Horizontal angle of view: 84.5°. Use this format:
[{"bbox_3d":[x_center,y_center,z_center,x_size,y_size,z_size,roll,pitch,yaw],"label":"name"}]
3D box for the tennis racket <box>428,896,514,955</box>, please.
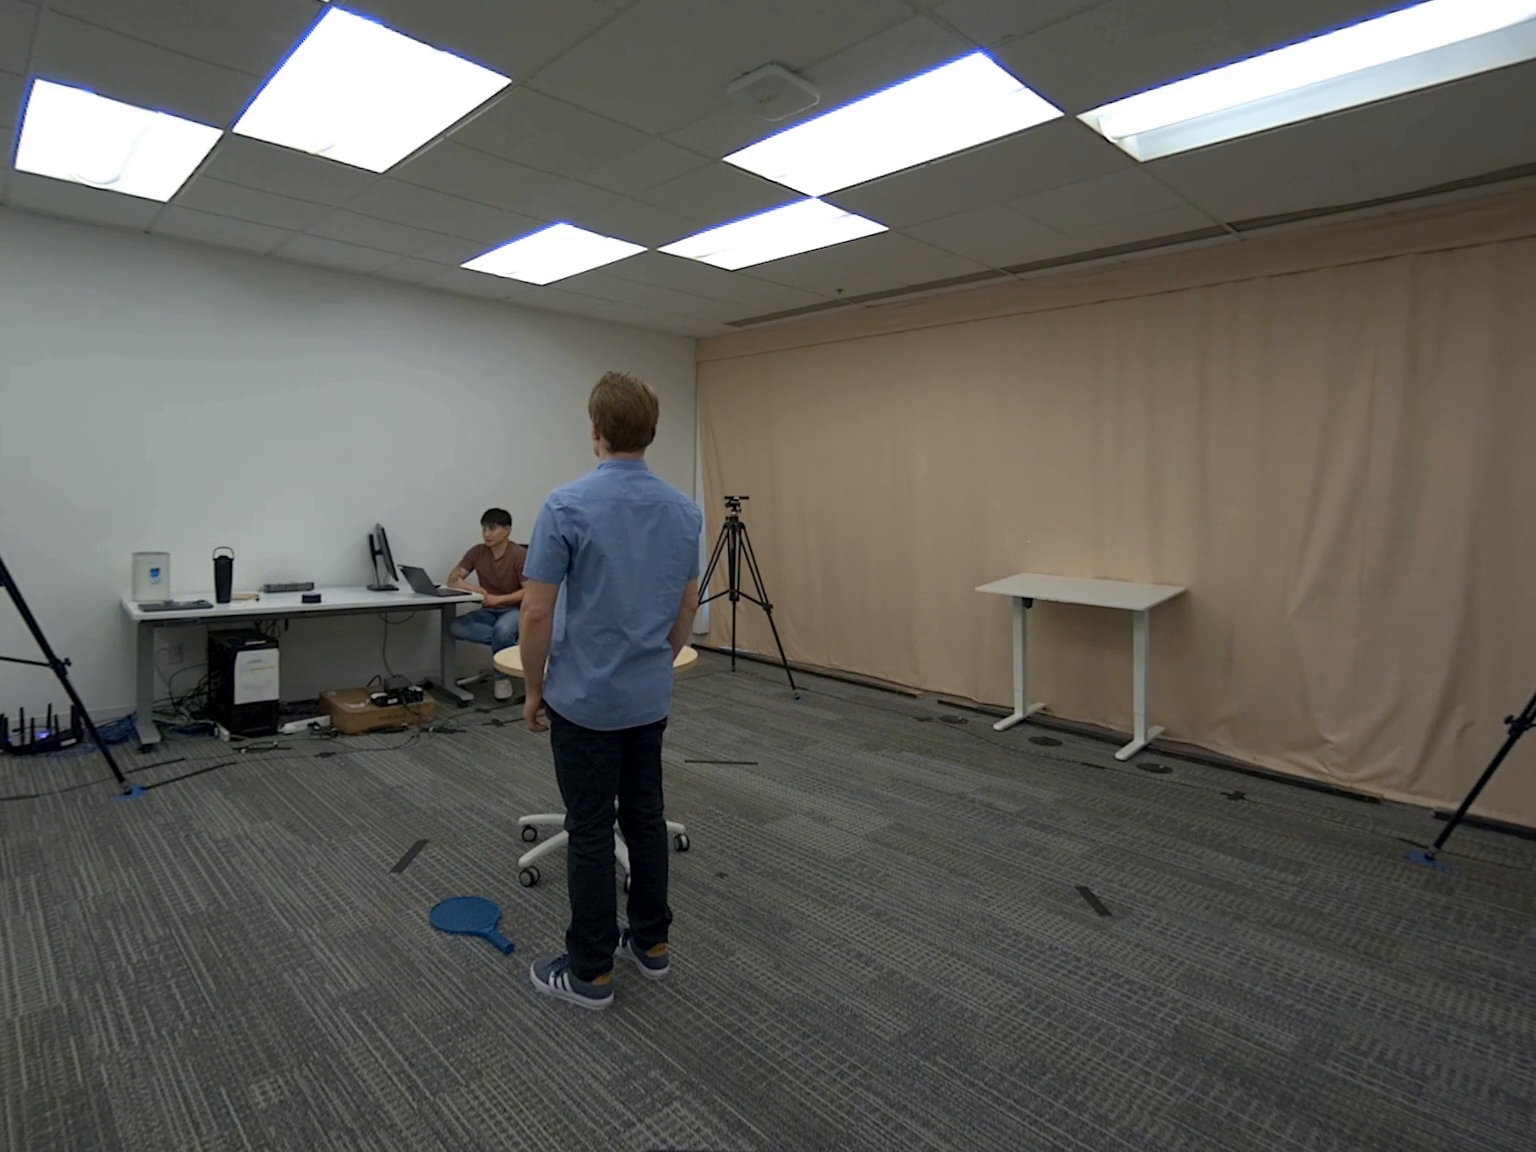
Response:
[{"bbox_3d":[-0.943,1.116,2.691,0.209,0.032,0.444,-3,6,-45],"label":"tennis racket"}]
